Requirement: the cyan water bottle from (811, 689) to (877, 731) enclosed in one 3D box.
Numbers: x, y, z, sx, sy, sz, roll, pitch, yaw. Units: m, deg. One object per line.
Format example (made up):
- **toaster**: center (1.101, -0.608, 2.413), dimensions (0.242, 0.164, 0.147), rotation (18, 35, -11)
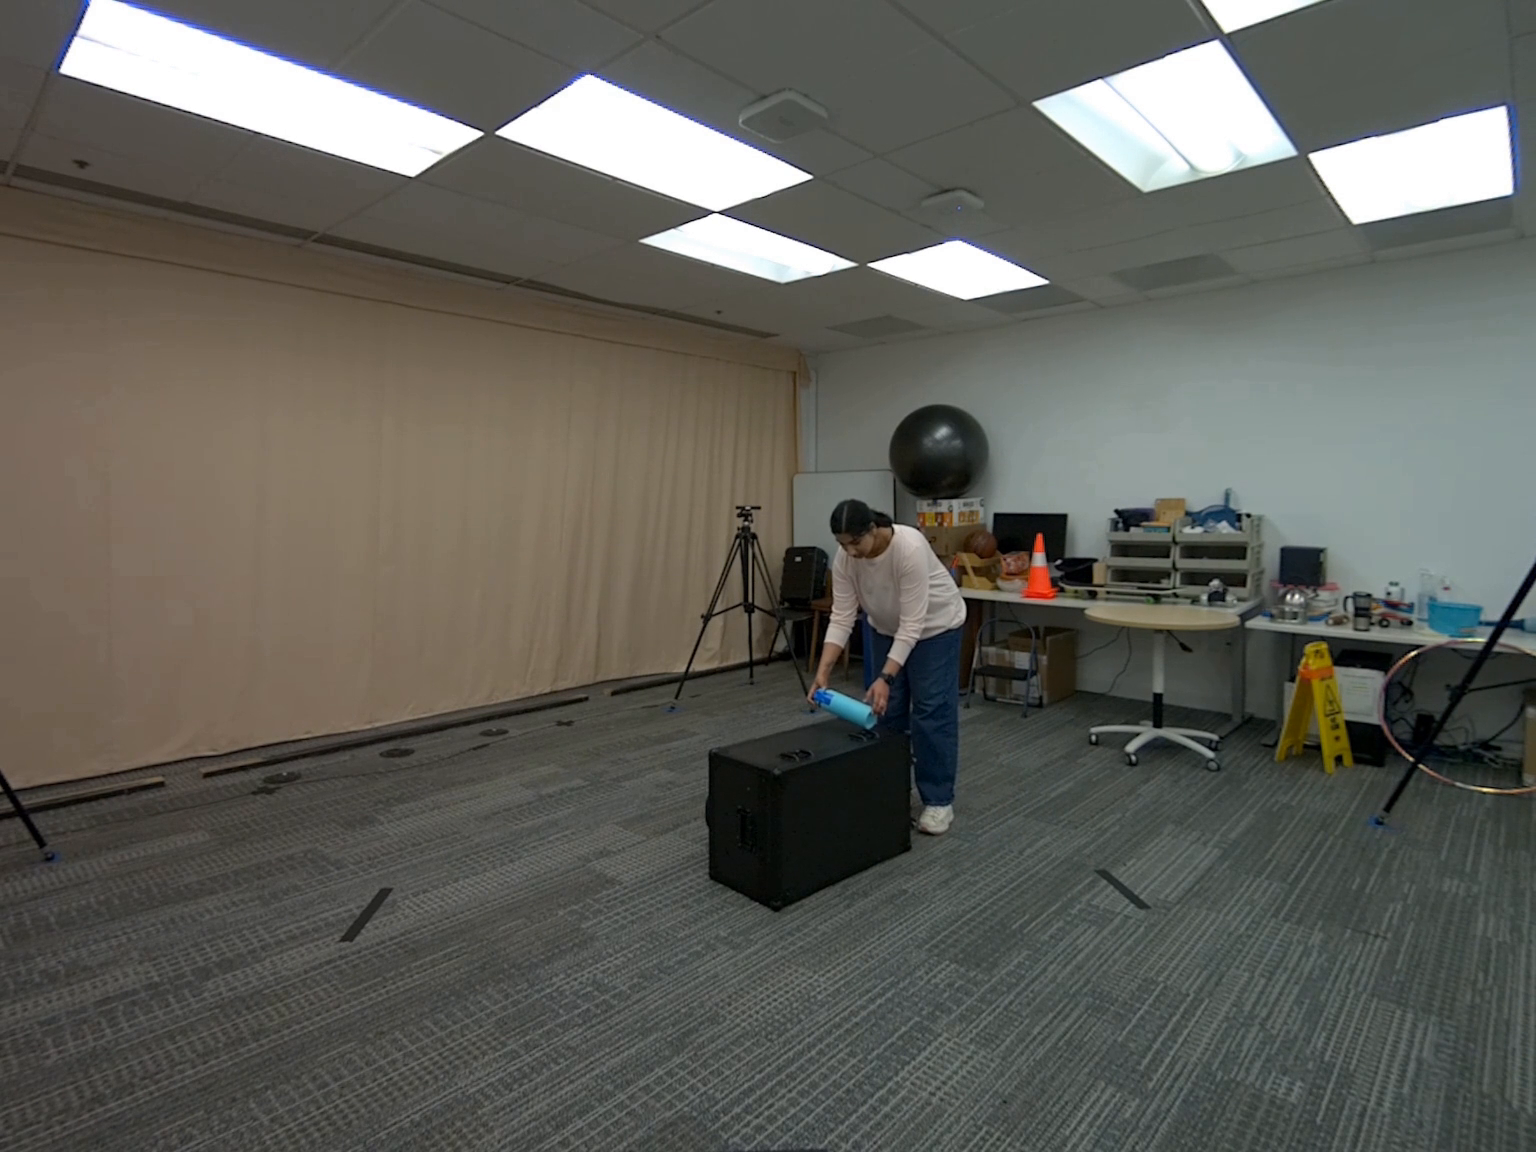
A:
- **cyan water bottle**: center (0.306, 0.535, 3.433), dimensions (0.293, 0.092, 0.089), rotation (18, 14, 37)
